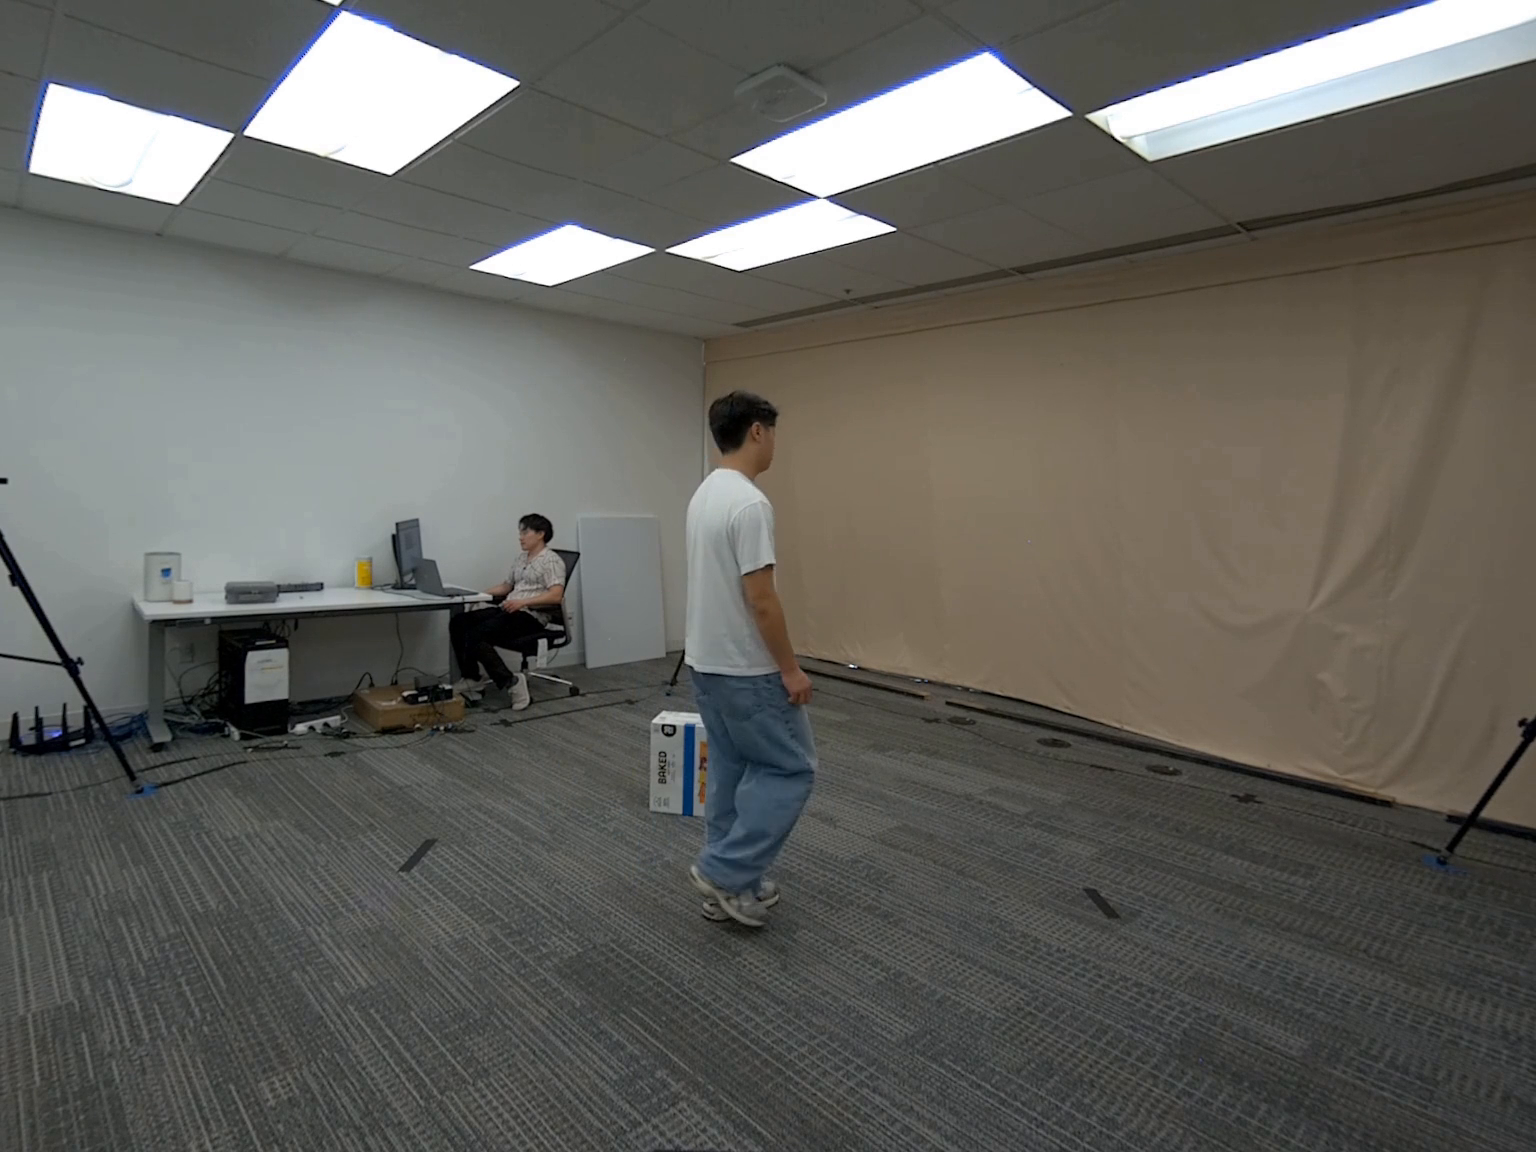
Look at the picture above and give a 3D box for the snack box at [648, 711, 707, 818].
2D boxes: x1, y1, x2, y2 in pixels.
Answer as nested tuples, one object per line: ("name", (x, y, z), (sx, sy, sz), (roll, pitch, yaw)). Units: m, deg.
("snack box", (-0.350, 0.841, 3.776), (0.343, 0.404, 0.204), (2, 5, 11))
